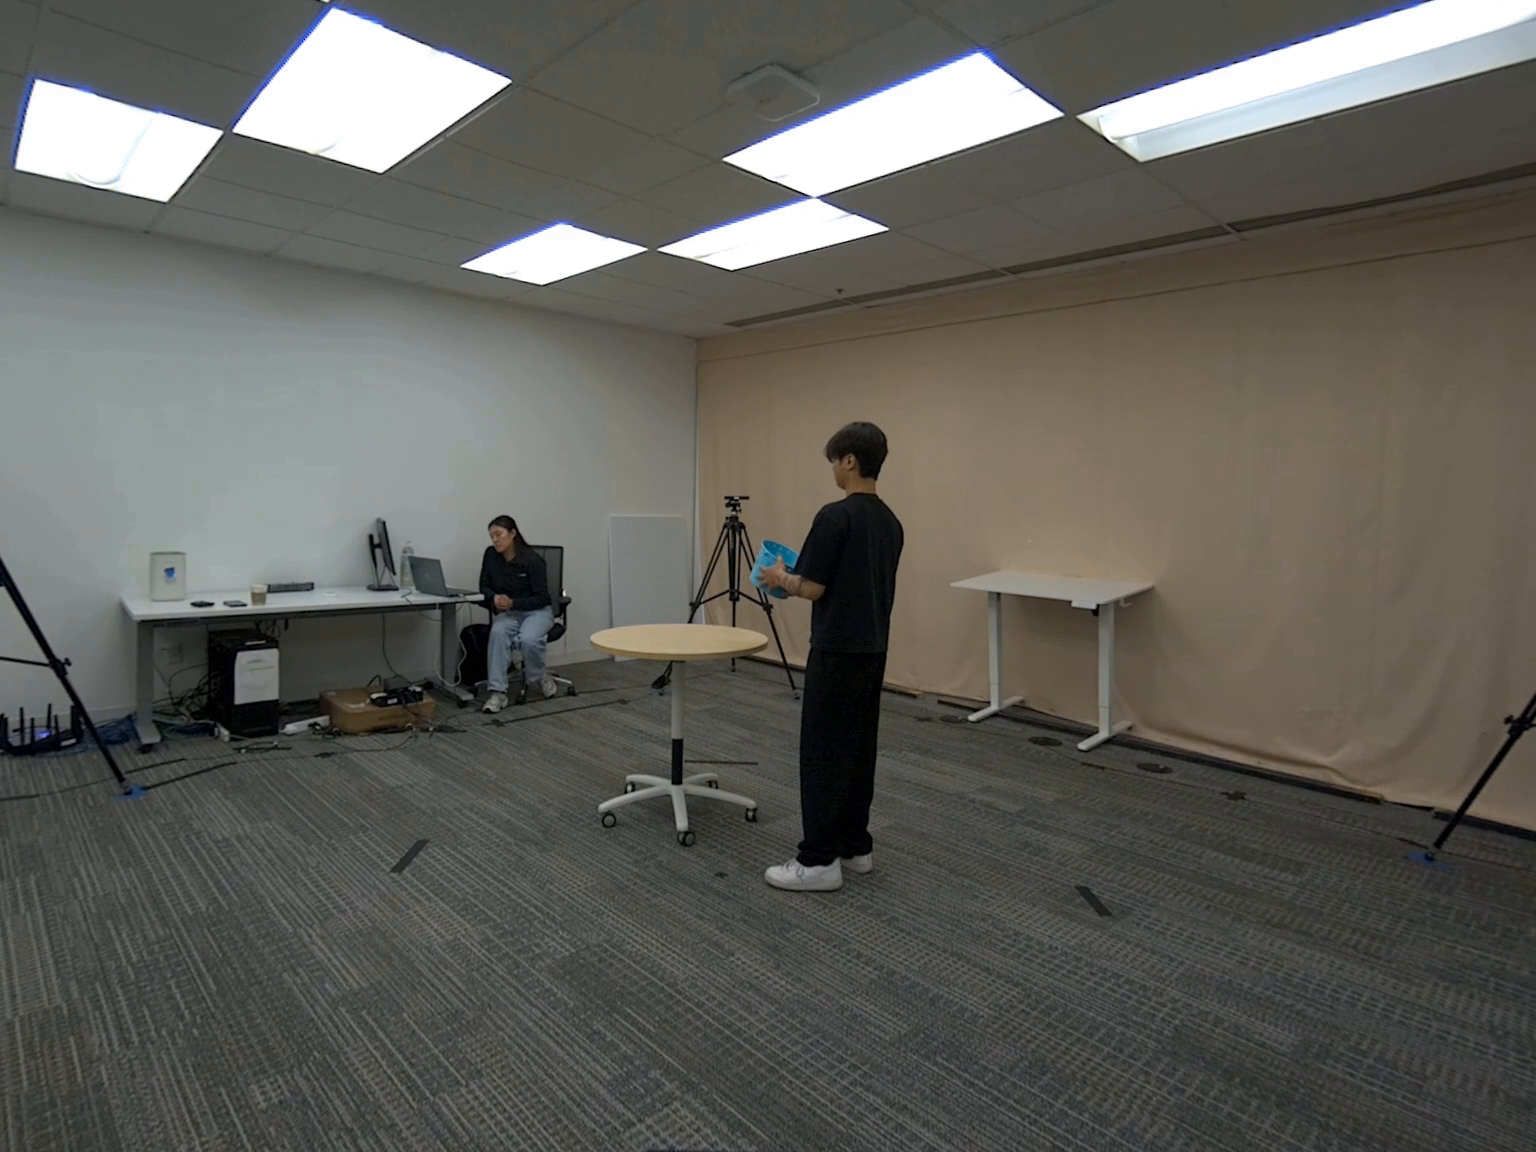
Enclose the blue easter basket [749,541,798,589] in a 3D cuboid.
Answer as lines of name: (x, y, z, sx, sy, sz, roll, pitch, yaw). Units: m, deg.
blue easter basket: (0.040, -0.021, 3.409, 0.241, 0.155, 0.247, 26, 17, -10)
